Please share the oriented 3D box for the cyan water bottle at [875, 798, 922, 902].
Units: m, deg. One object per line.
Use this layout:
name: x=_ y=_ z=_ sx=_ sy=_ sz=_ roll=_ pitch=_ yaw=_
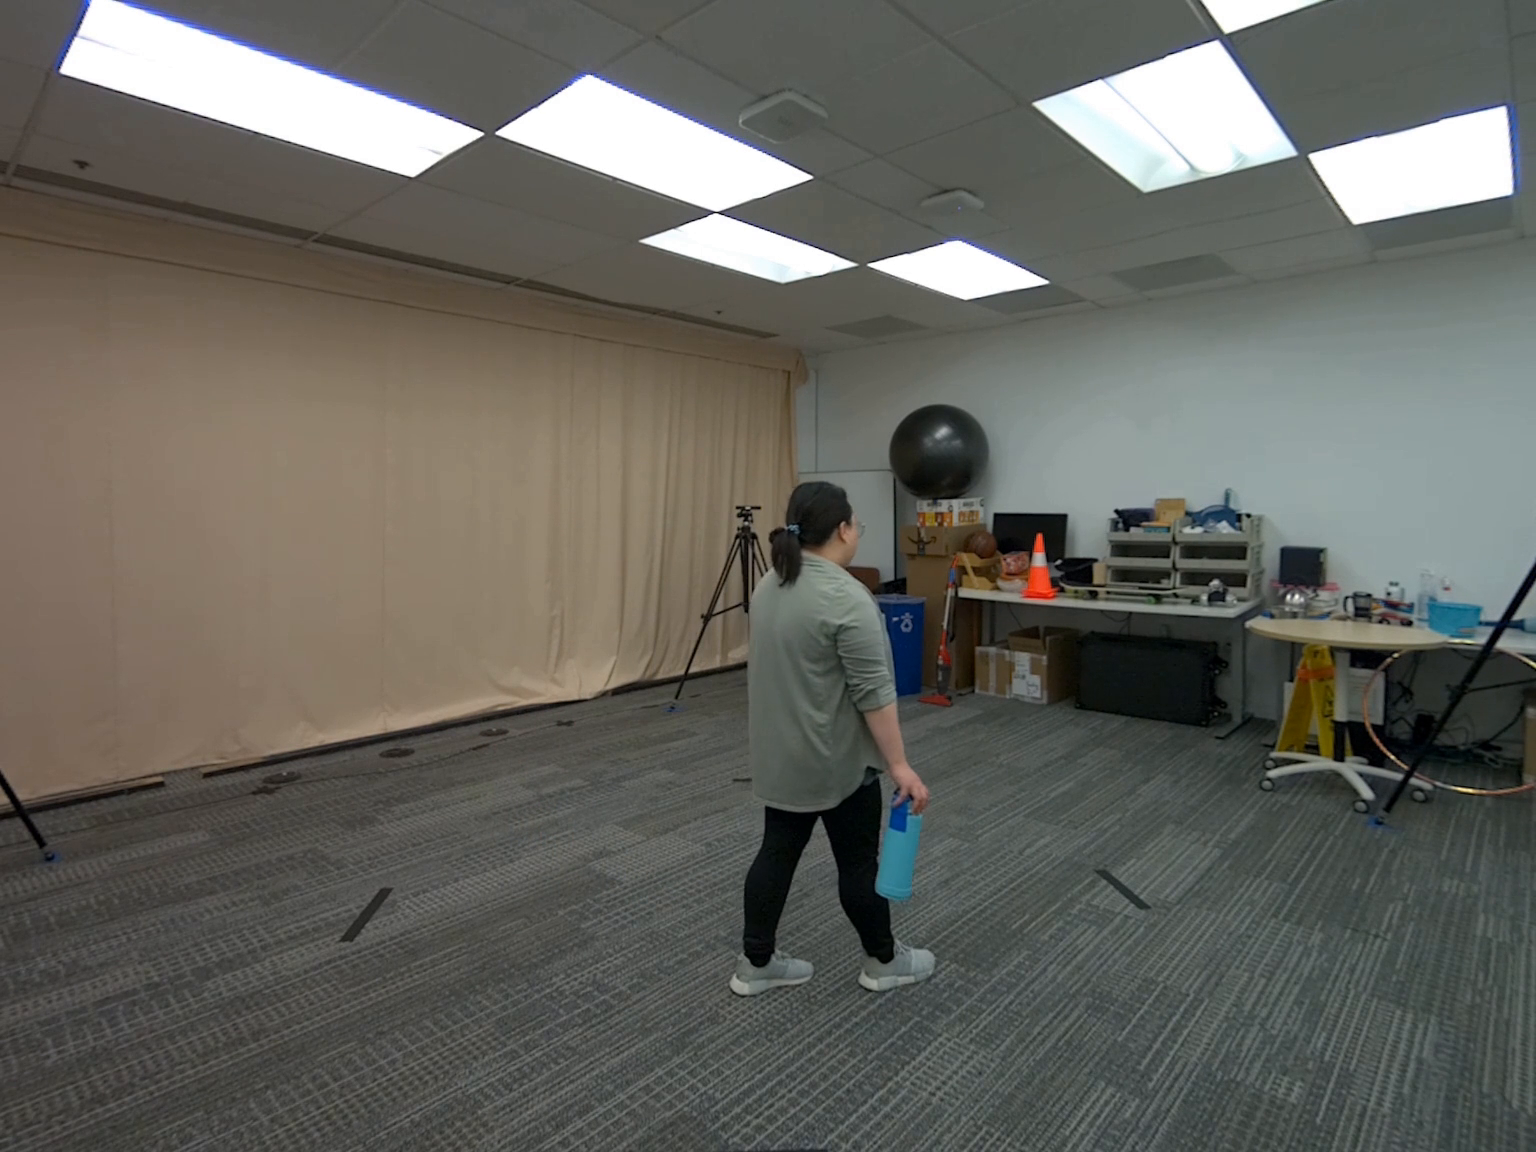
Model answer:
cyan water bottle: x=0.371 y=0.686 z=2.203 sx=0.092 sy=0.283 sz=0.092 roll=6 pitch=-1 yaw=-2
